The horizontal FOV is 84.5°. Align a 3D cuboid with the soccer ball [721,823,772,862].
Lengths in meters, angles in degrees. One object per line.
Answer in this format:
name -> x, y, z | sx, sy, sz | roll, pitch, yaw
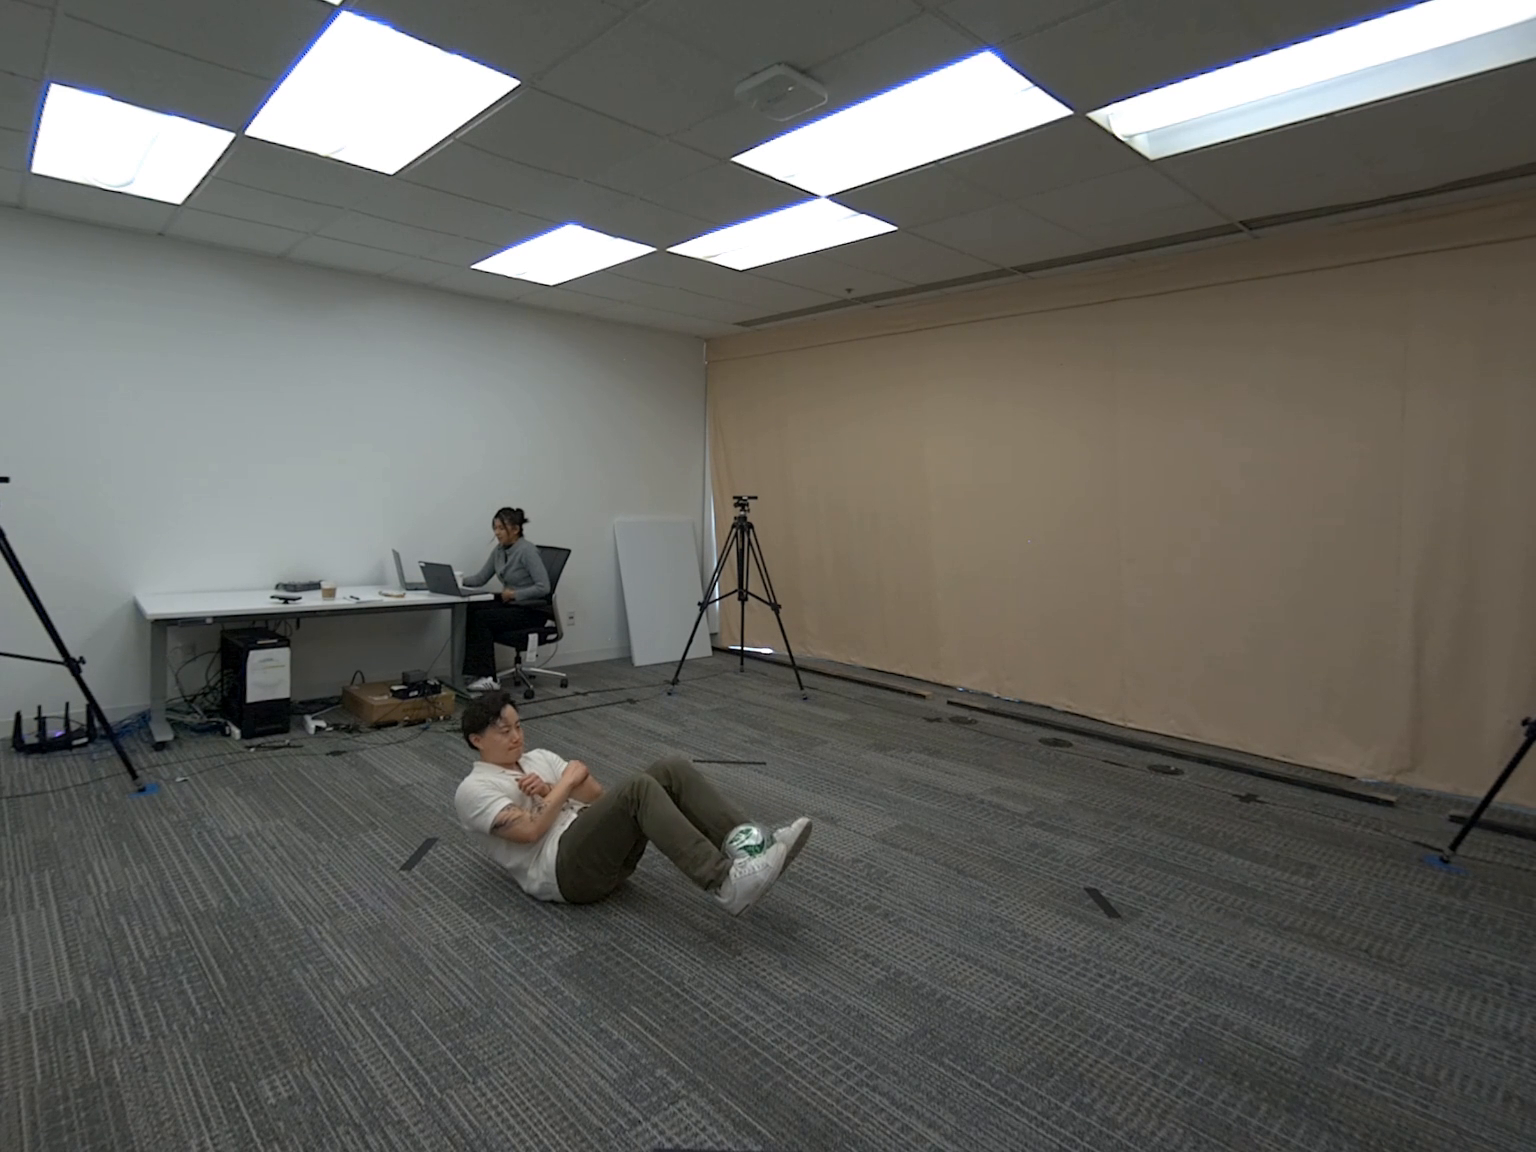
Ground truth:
soccer ball -> -0.078, 0.892, 2.679 | 0.187, 0.187, 0.188 | 1, 4, -1
